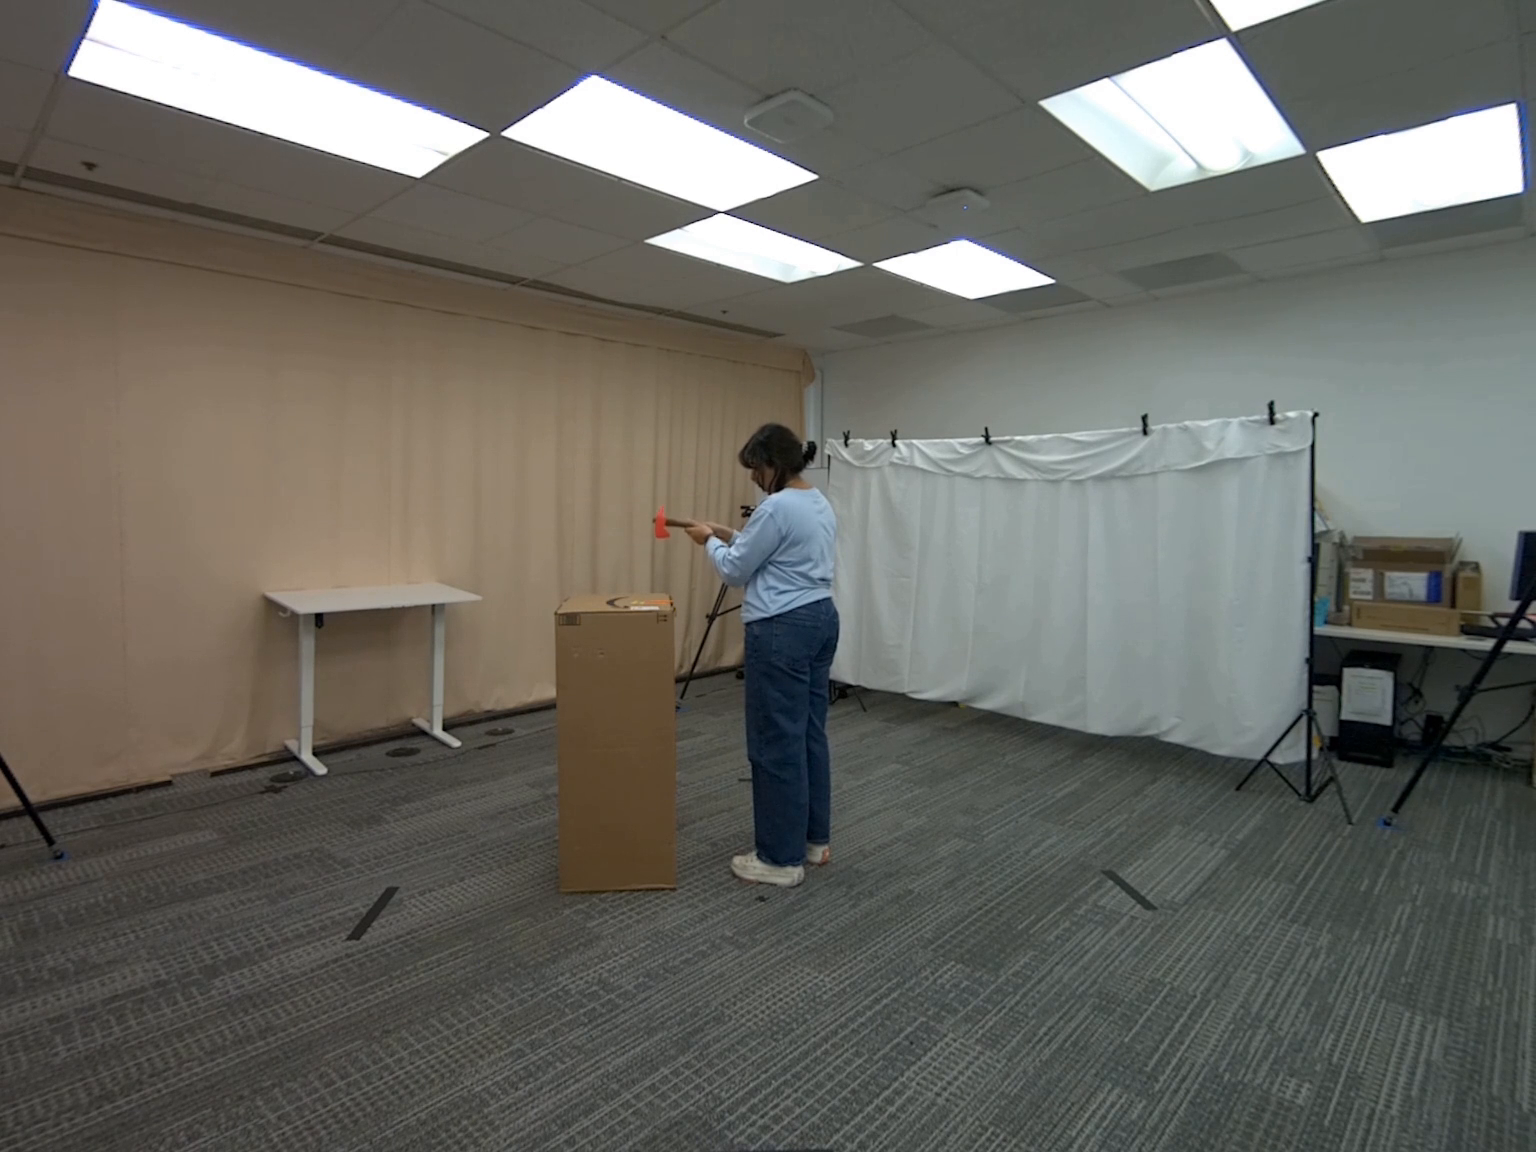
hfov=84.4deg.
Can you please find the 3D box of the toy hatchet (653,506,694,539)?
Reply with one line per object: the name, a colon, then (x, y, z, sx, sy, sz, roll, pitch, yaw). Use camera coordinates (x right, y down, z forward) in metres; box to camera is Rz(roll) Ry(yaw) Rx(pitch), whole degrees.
toy hatchet: (-0.334, -0.174, 3.384, 0.270, 0.131, 0.029, 24, 0, -1)
